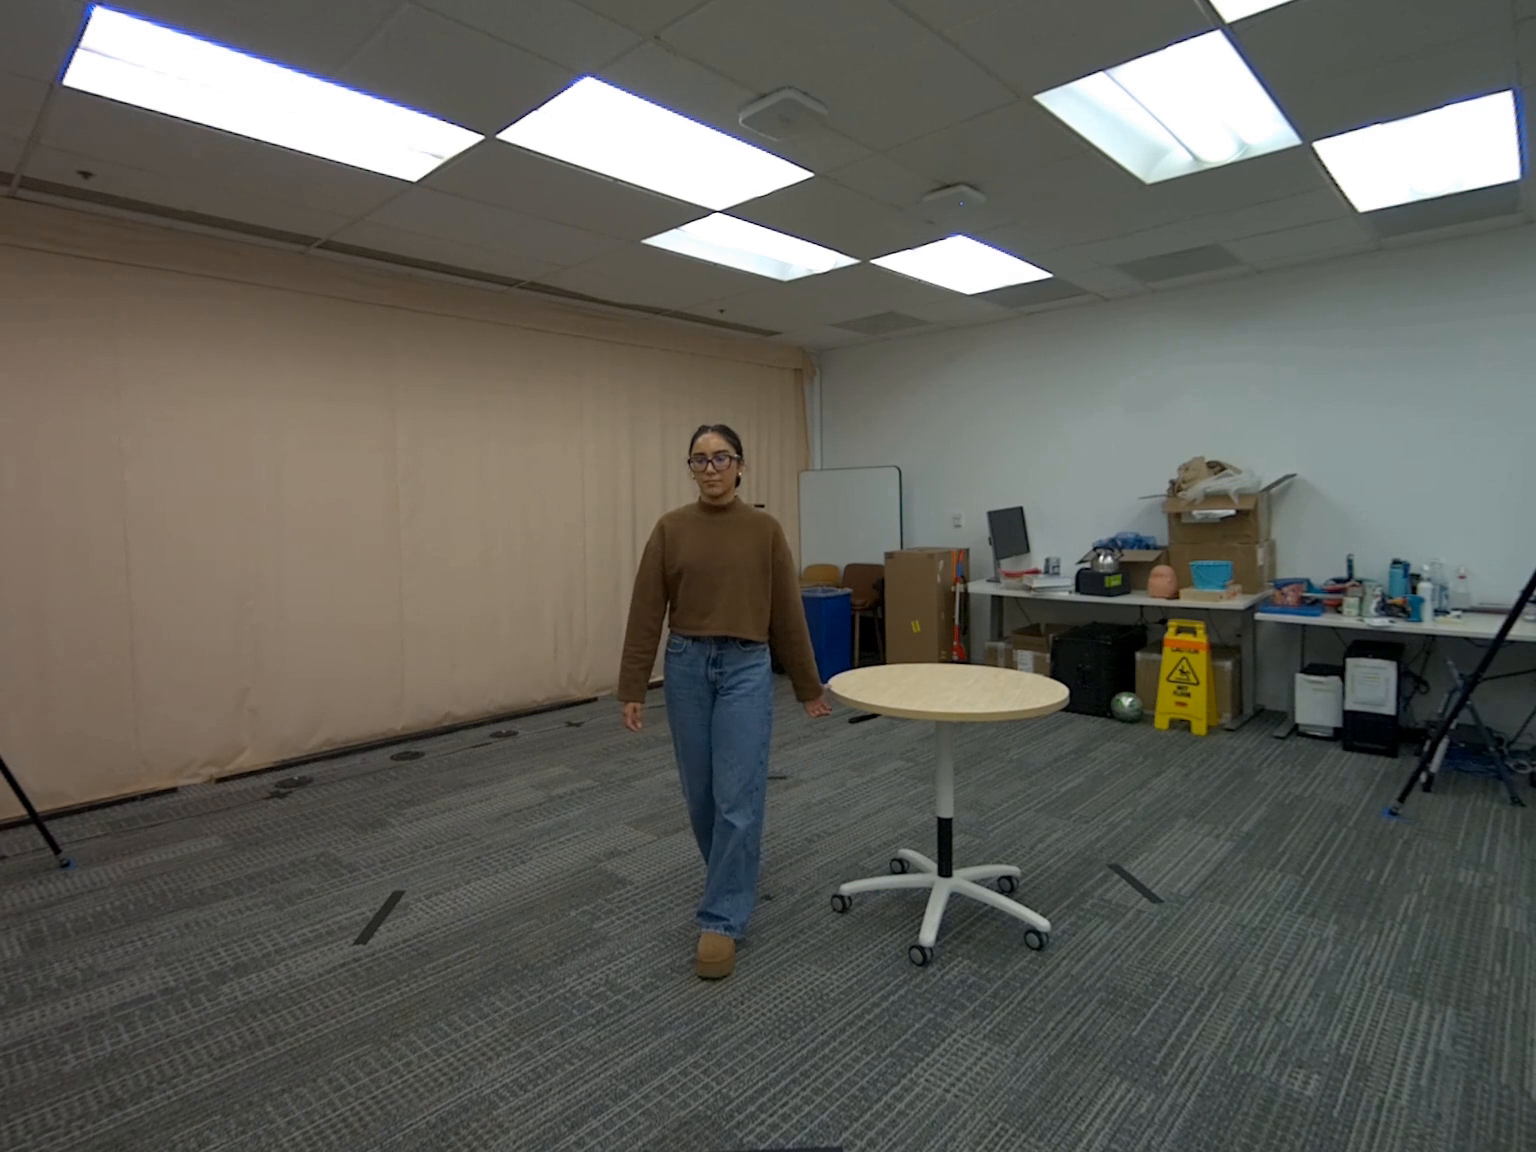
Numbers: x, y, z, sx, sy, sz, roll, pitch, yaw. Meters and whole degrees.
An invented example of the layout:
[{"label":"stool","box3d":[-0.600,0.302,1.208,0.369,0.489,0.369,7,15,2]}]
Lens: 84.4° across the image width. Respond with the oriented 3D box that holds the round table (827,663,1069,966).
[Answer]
[{"label":"round table","box3d":[0.608,0.753,2.813,0.784,0.785,0.788,-1,4,-2]}]
